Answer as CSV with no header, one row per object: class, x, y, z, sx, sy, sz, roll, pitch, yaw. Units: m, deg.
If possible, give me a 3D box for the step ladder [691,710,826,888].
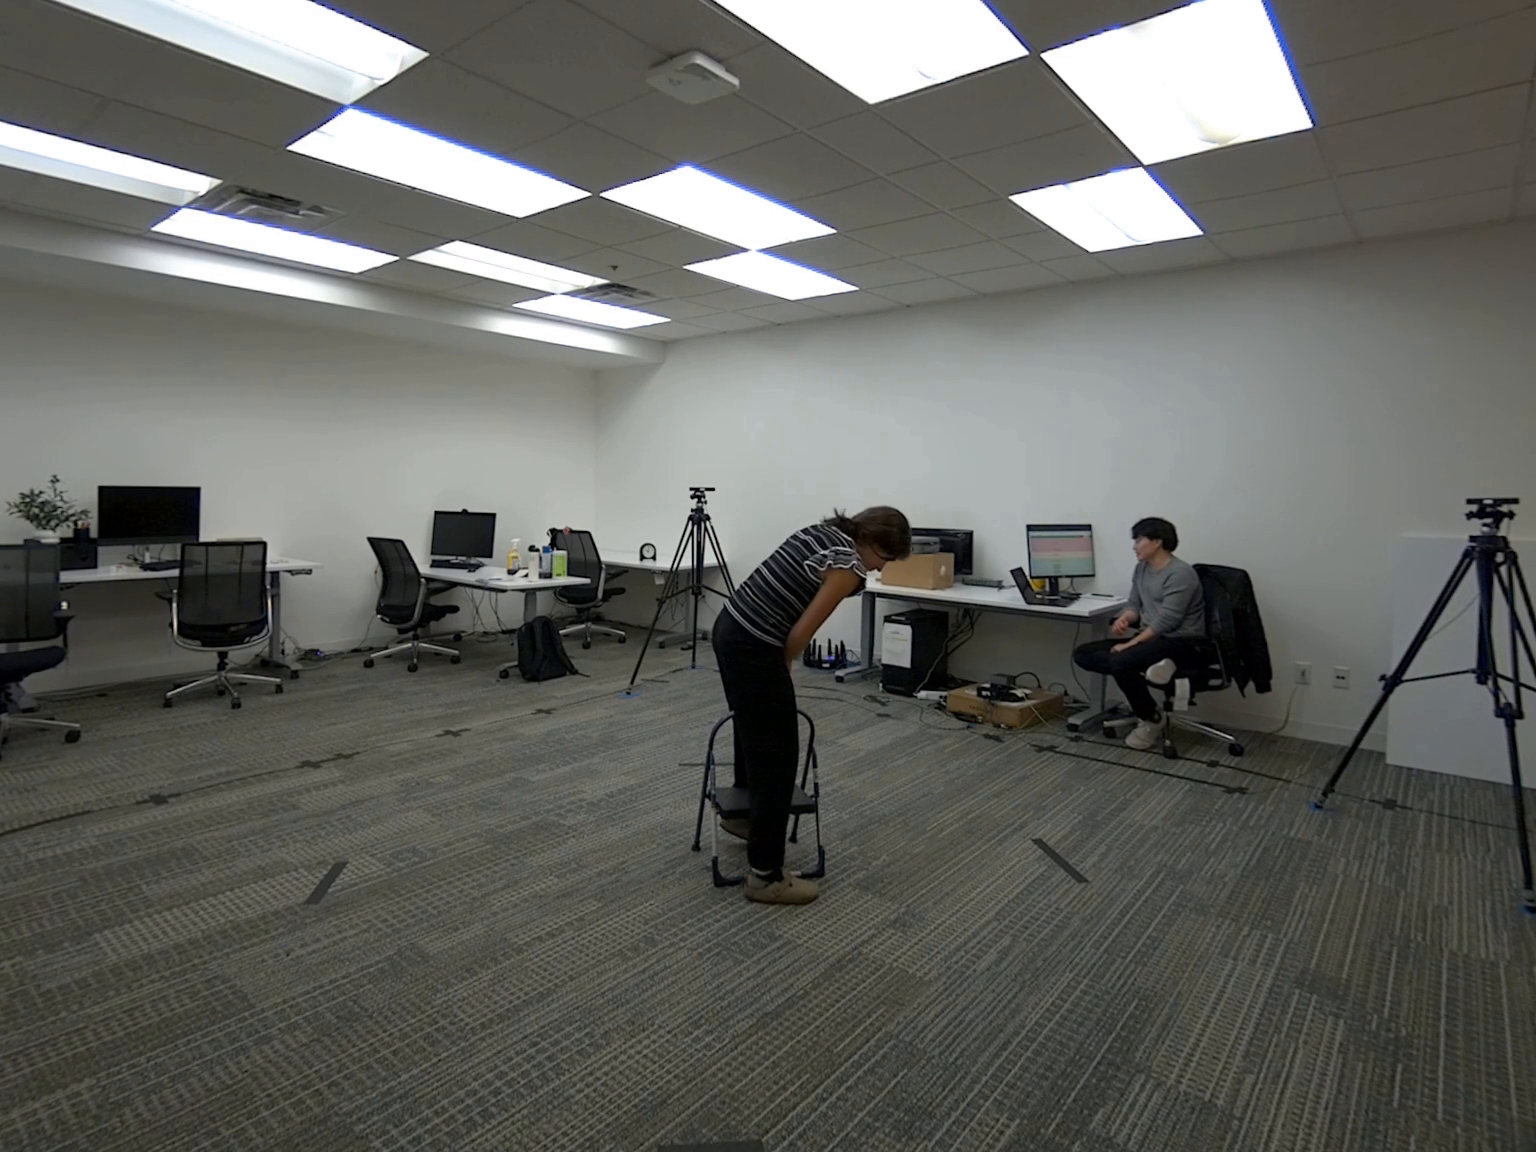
step ladder,-0.041,0.765,3.163,0.423,0.604,0.356,1,3,-16
